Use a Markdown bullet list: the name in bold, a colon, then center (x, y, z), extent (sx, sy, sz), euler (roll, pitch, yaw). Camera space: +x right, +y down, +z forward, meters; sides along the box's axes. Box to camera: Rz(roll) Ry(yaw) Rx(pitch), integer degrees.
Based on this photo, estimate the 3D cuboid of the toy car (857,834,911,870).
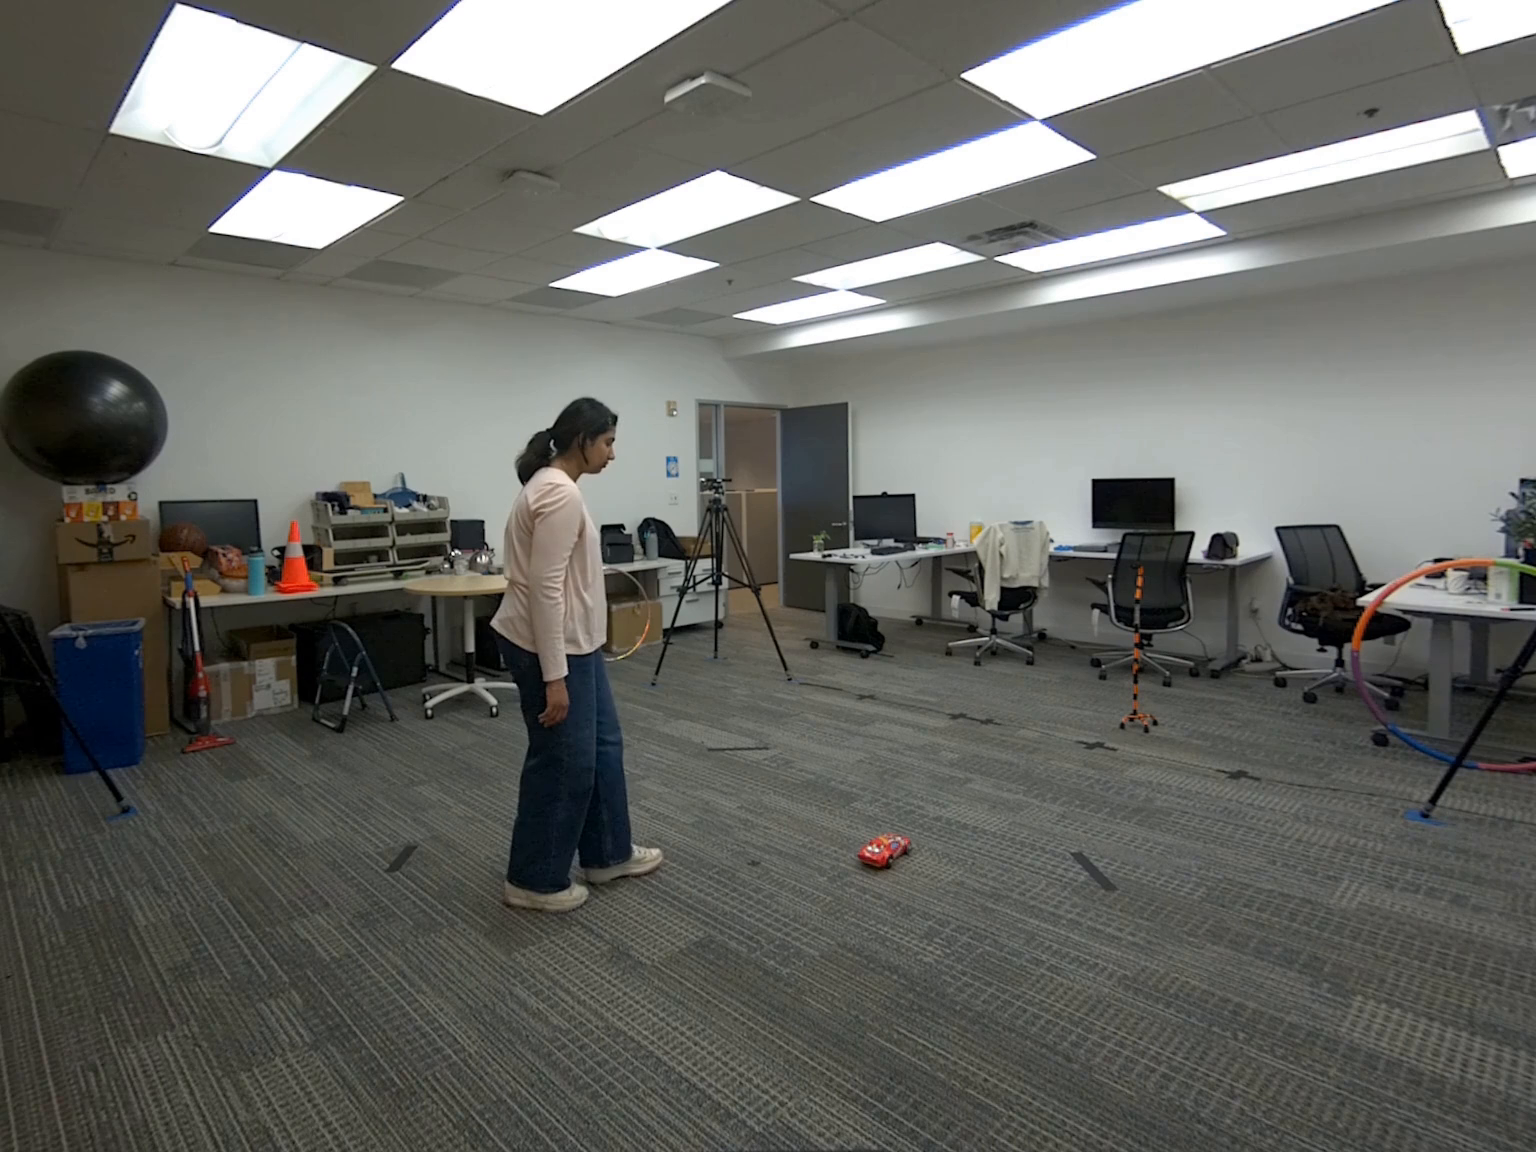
- **toy car**: center (0.426, 1.002, 3.116), extent (0.134, 0.083, 0.246), euler (3, -4, 38)
